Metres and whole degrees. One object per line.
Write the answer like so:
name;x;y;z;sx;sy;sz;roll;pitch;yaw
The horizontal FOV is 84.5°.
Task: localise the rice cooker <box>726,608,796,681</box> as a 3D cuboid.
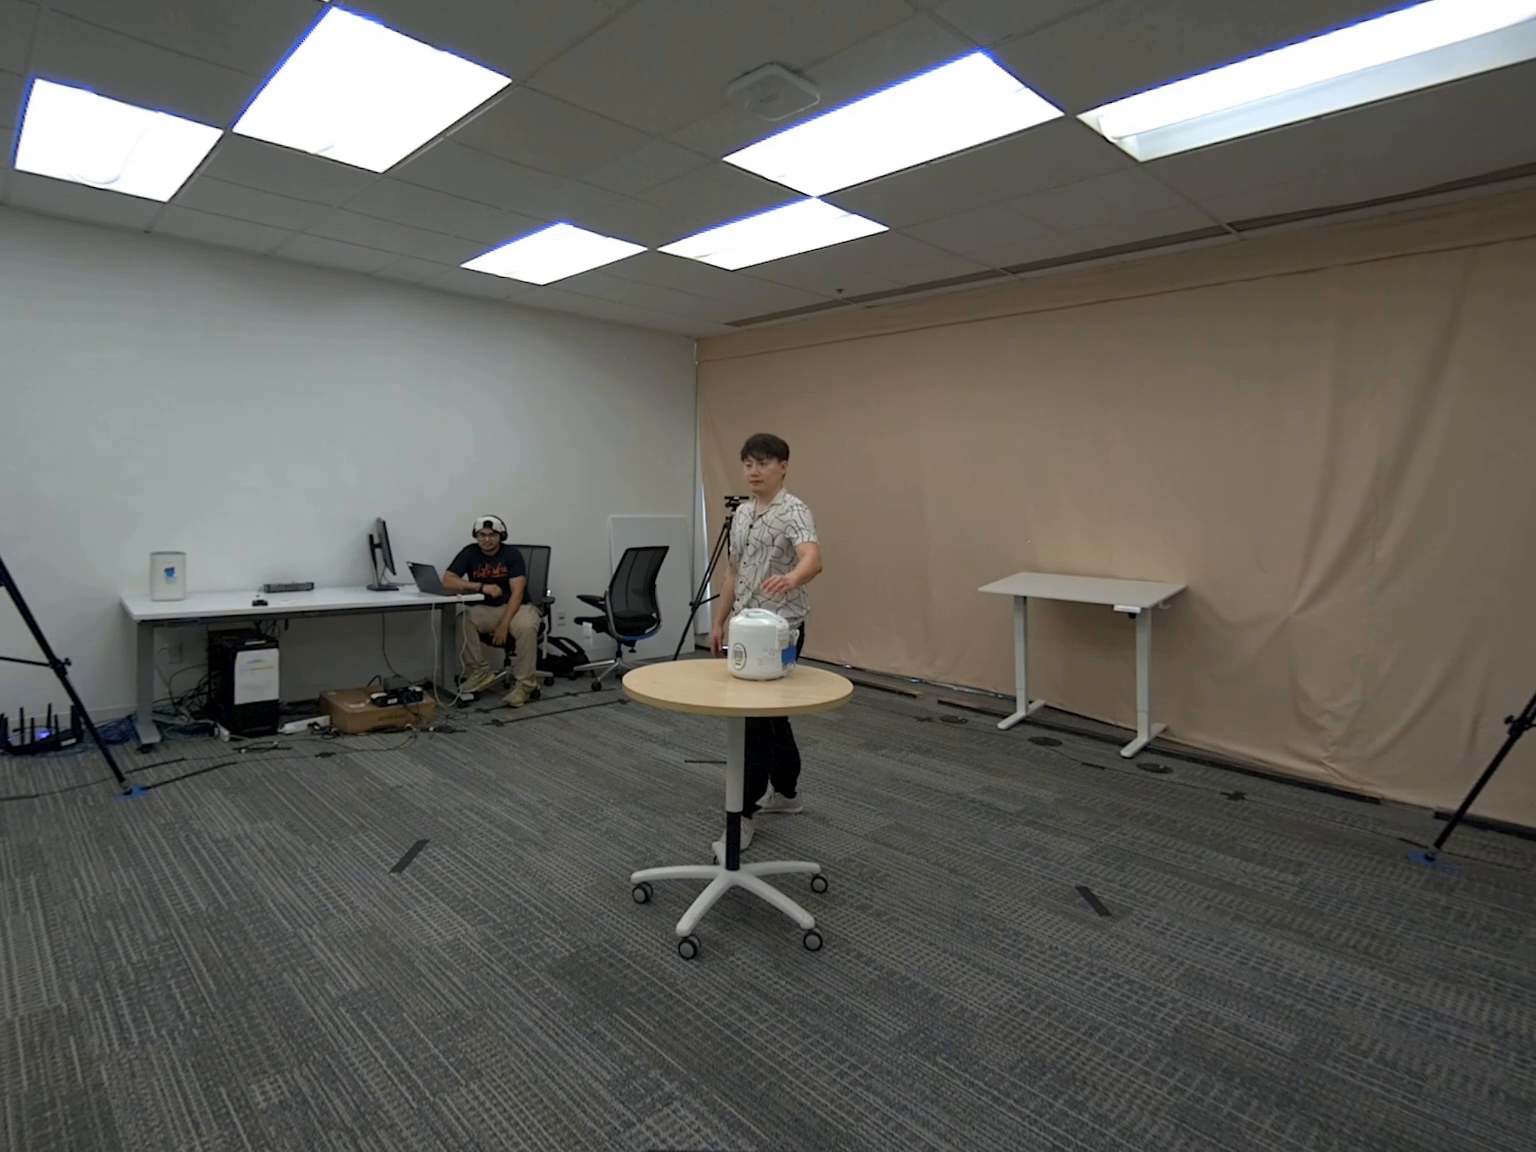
rice cooker;-0.040;0.229;2.883;0.226;0.232;0.212;4;3;38
